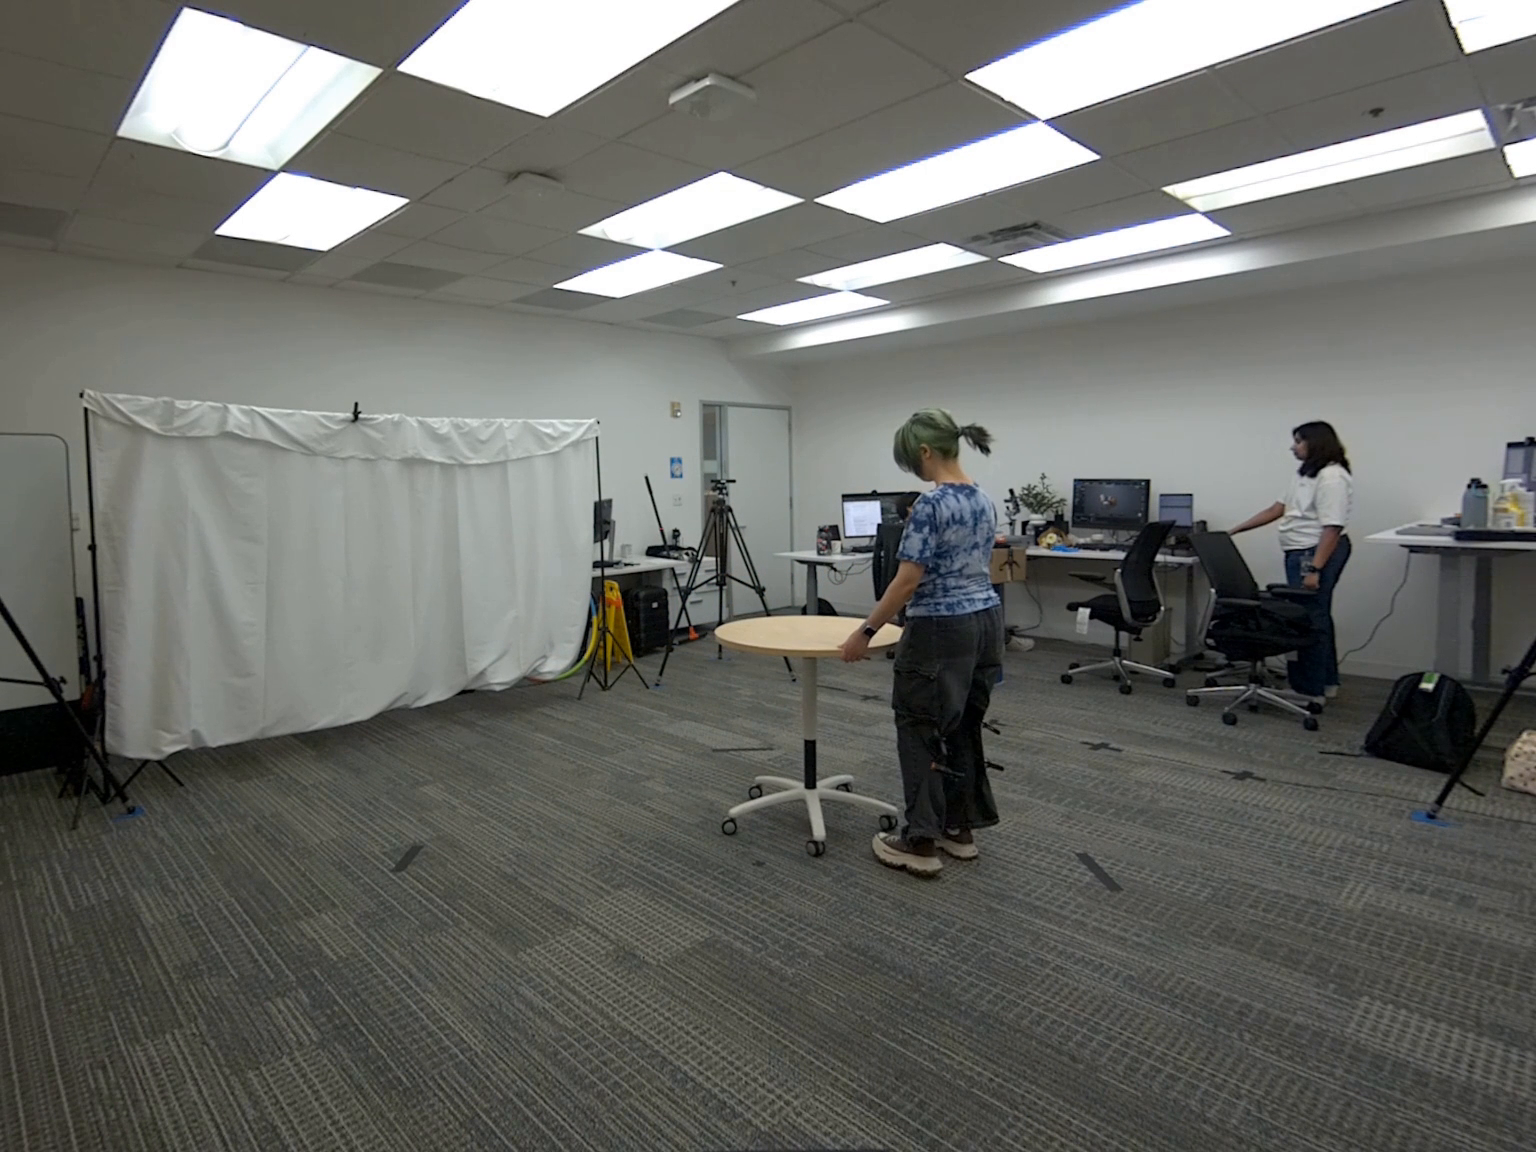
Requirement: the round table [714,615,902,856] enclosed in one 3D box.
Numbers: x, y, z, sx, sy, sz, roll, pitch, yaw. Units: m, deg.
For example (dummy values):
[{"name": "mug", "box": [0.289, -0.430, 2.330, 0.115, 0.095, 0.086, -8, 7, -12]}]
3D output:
[{"name": "round table", "box": [0.163, 0.614, 3.463, 0.763, 0.791, 0.768, 0, 5, -2]}]
